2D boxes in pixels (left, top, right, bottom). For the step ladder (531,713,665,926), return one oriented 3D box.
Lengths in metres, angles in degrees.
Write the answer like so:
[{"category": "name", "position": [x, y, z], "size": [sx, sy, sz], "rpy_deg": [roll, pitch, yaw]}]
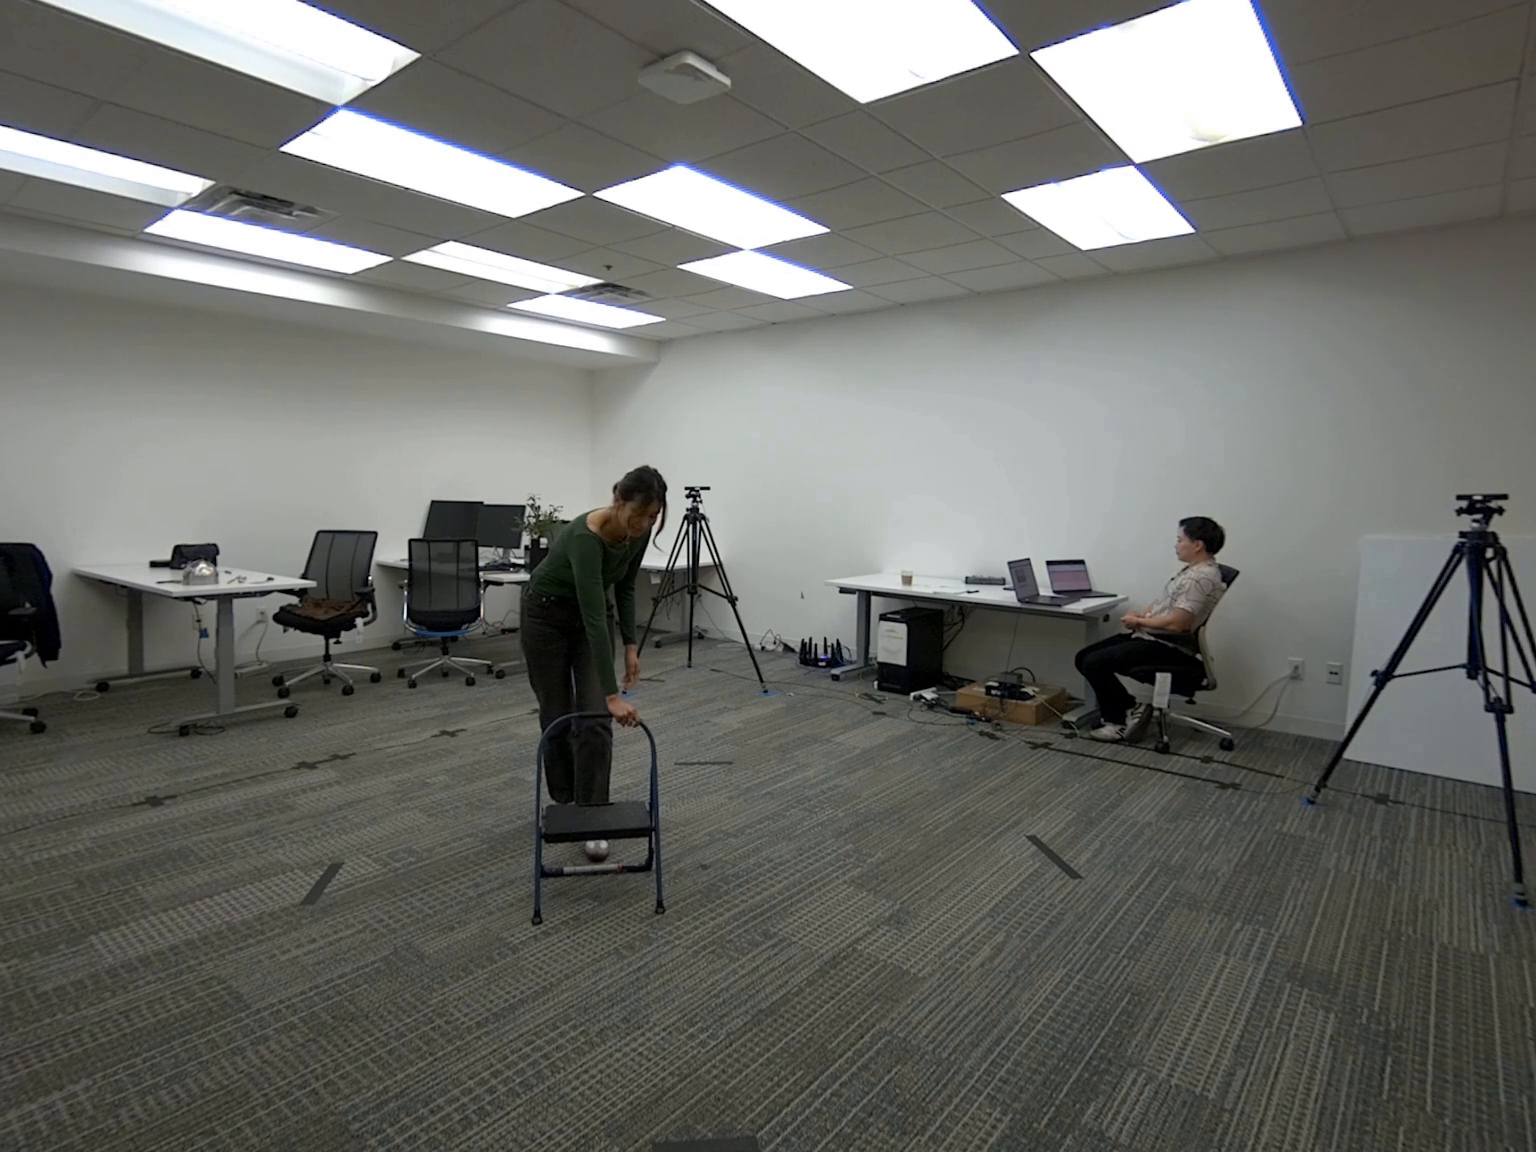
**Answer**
[{"category": "step ladder", "position": [-0.585, 0.781, 2.890], "size": [0.425, 0.604, 0.355], "rpy_deg": [0, 3, -12]}]
